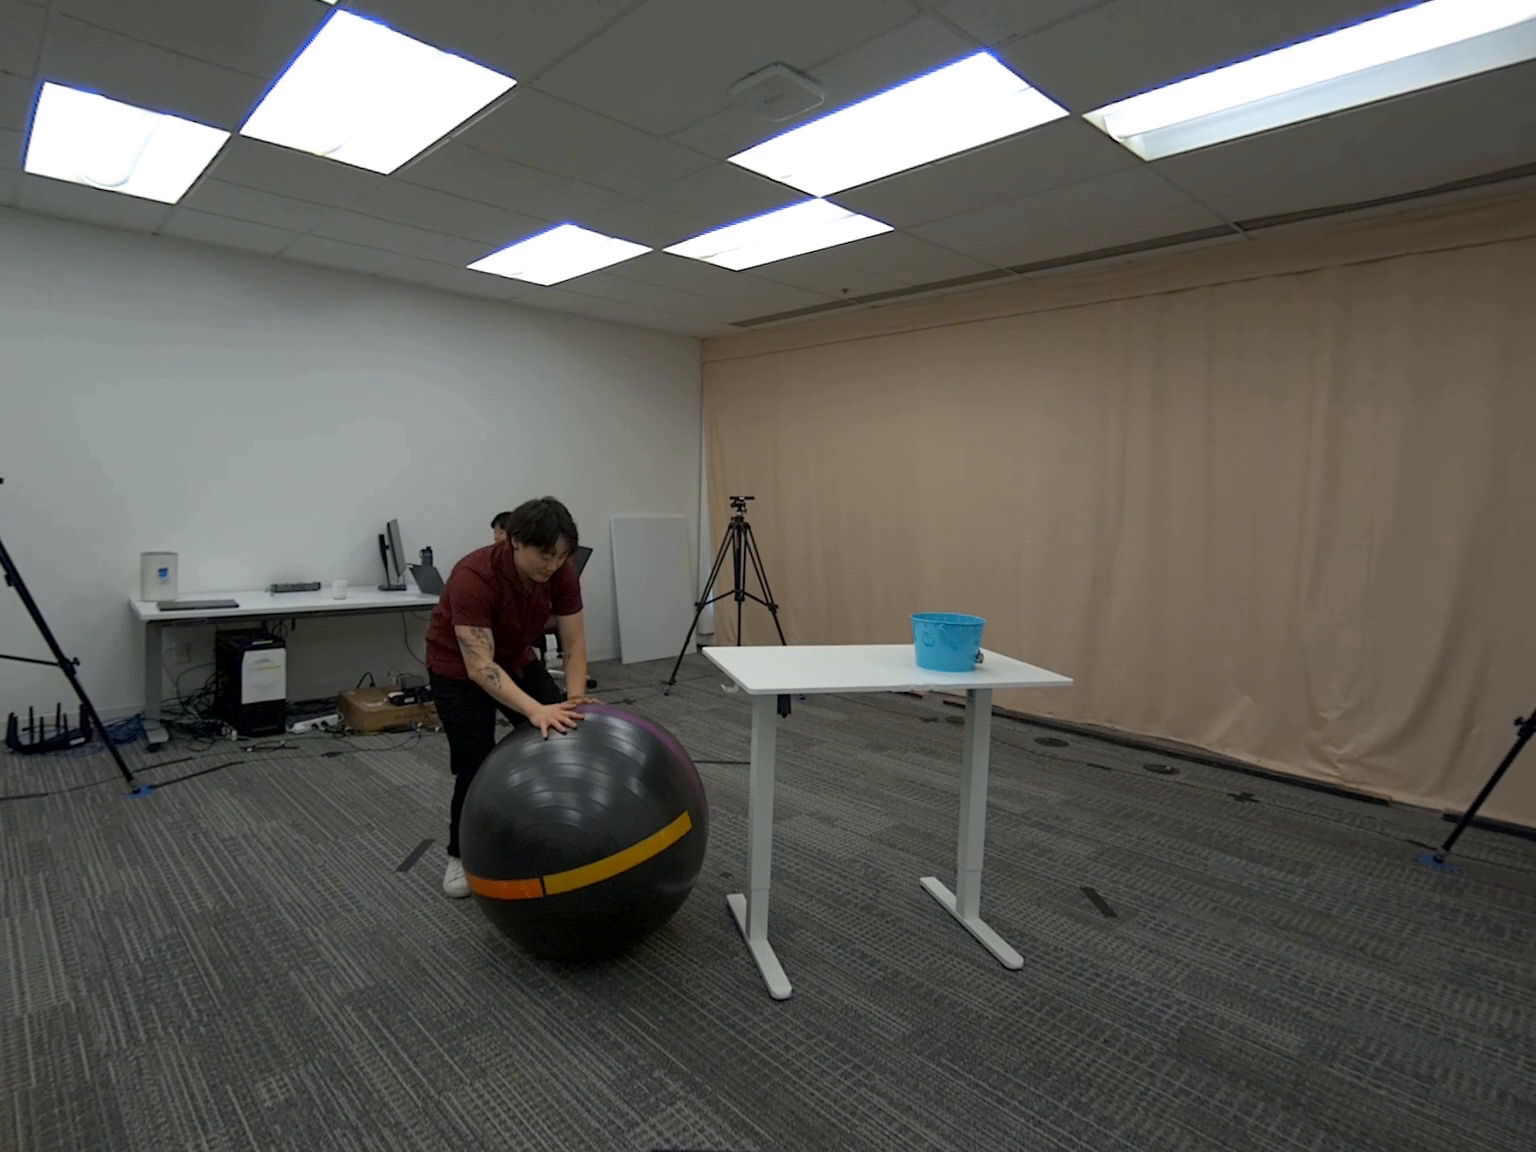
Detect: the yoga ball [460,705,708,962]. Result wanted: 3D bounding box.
[{"bbox_3d":[-0.574,0.788,2.623,0.757,0.756,0.760,1,4,-1],"label":"yoga ball"}]
